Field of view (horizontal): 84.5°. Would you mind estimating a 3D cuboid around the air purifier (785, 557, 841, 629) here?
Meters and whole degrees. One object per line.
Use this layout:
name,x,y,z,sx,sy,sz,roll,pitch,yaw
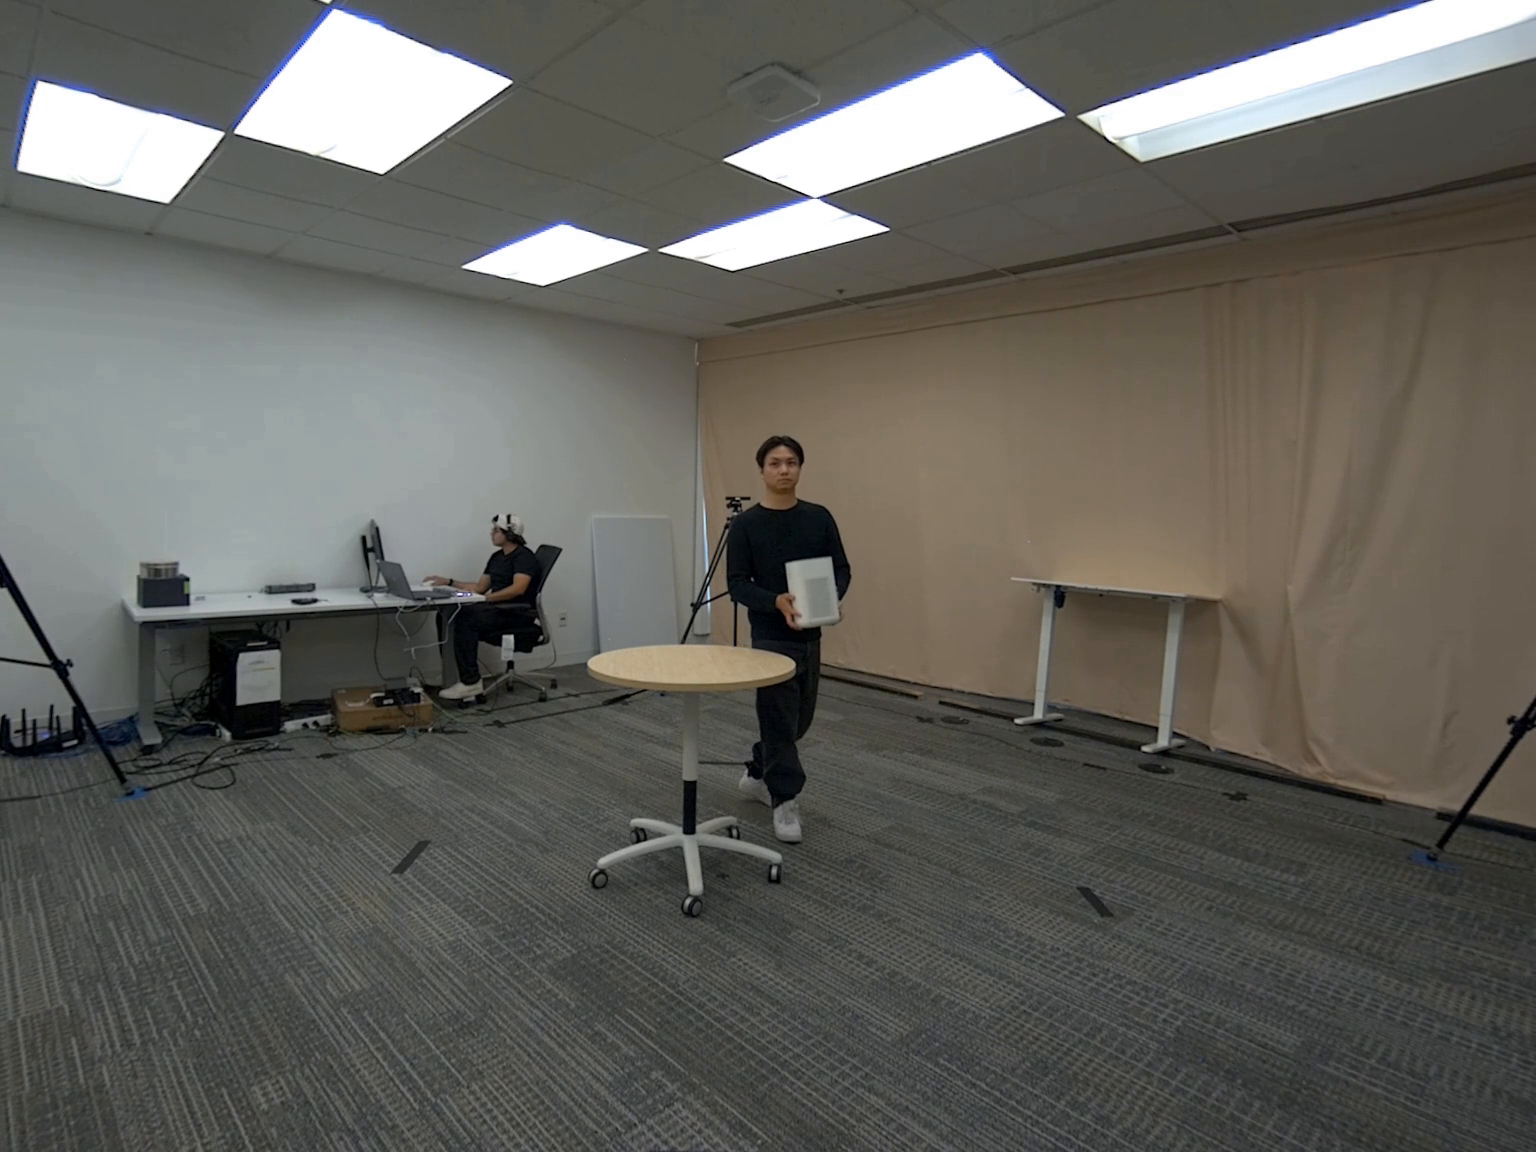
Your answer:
air purifier,0.163,0.065,3.340,0.170,0.266,0.172,-6,-3,-13
